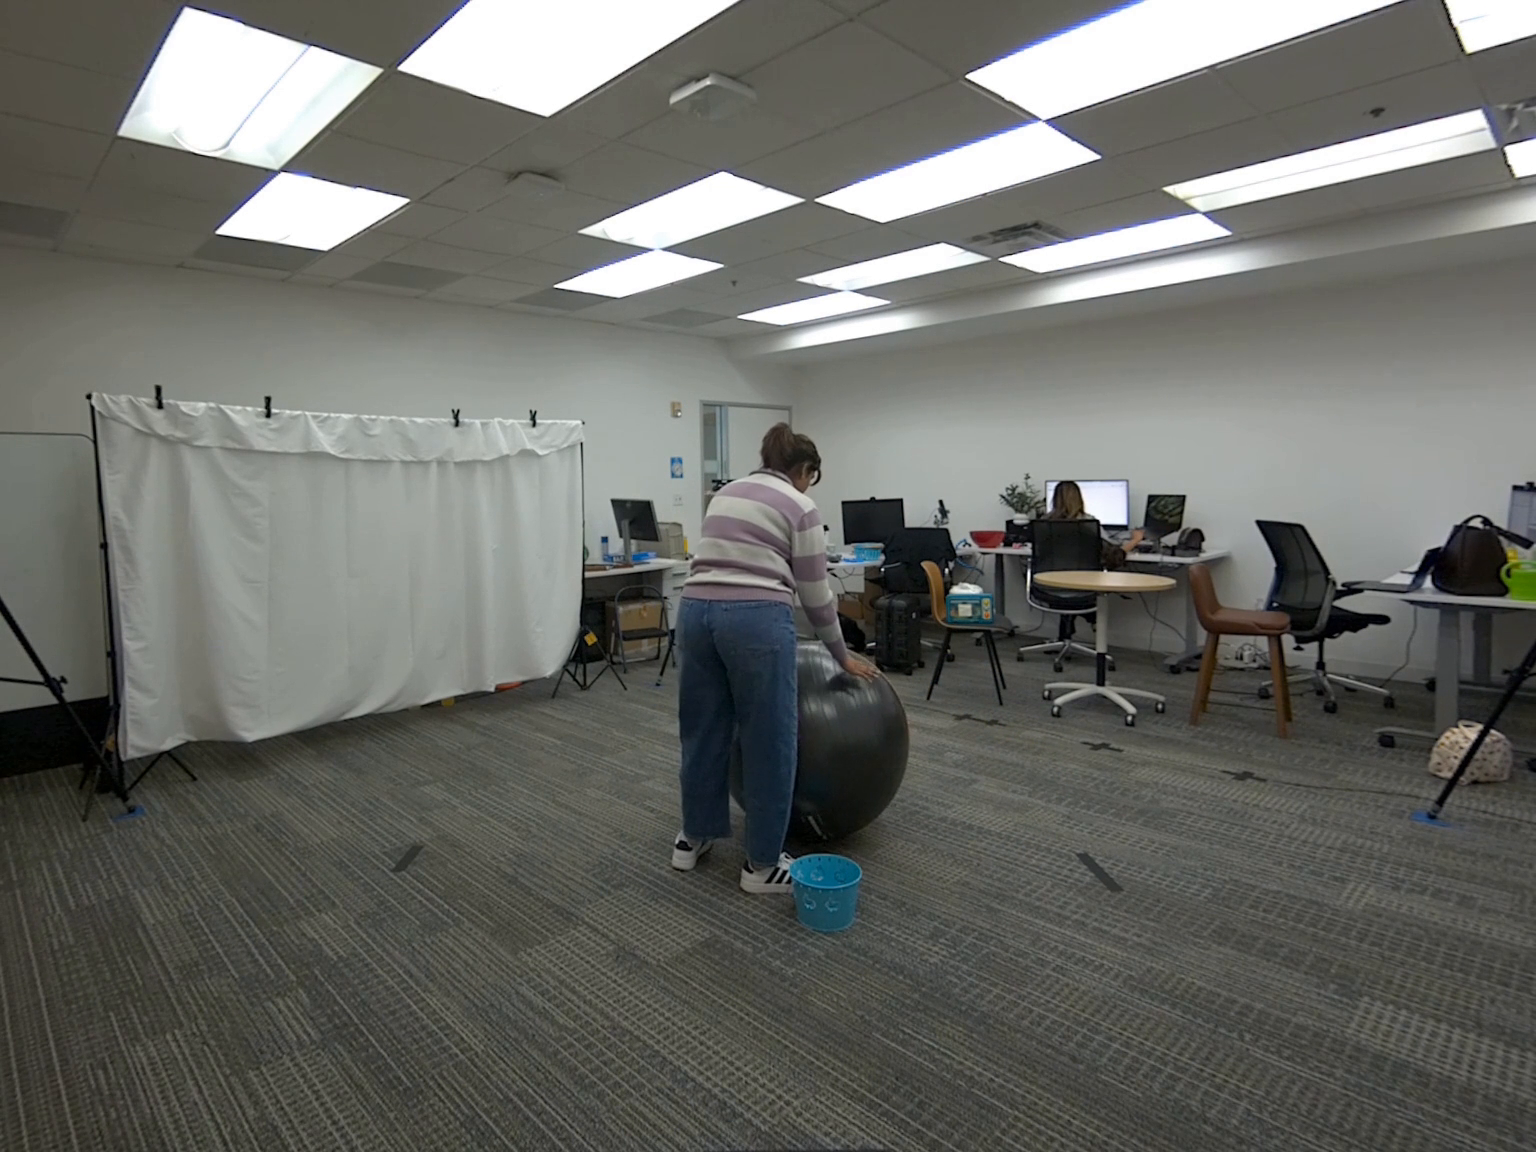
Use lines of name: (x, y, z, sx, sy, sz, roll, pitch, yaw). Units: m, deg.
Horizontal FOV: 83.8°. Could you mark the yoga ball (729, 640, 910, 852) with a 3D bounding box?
yoga ball: (0.173, 0.643, 3.371, 0.757, 0.755, 0.762, -1, 5, -2)
